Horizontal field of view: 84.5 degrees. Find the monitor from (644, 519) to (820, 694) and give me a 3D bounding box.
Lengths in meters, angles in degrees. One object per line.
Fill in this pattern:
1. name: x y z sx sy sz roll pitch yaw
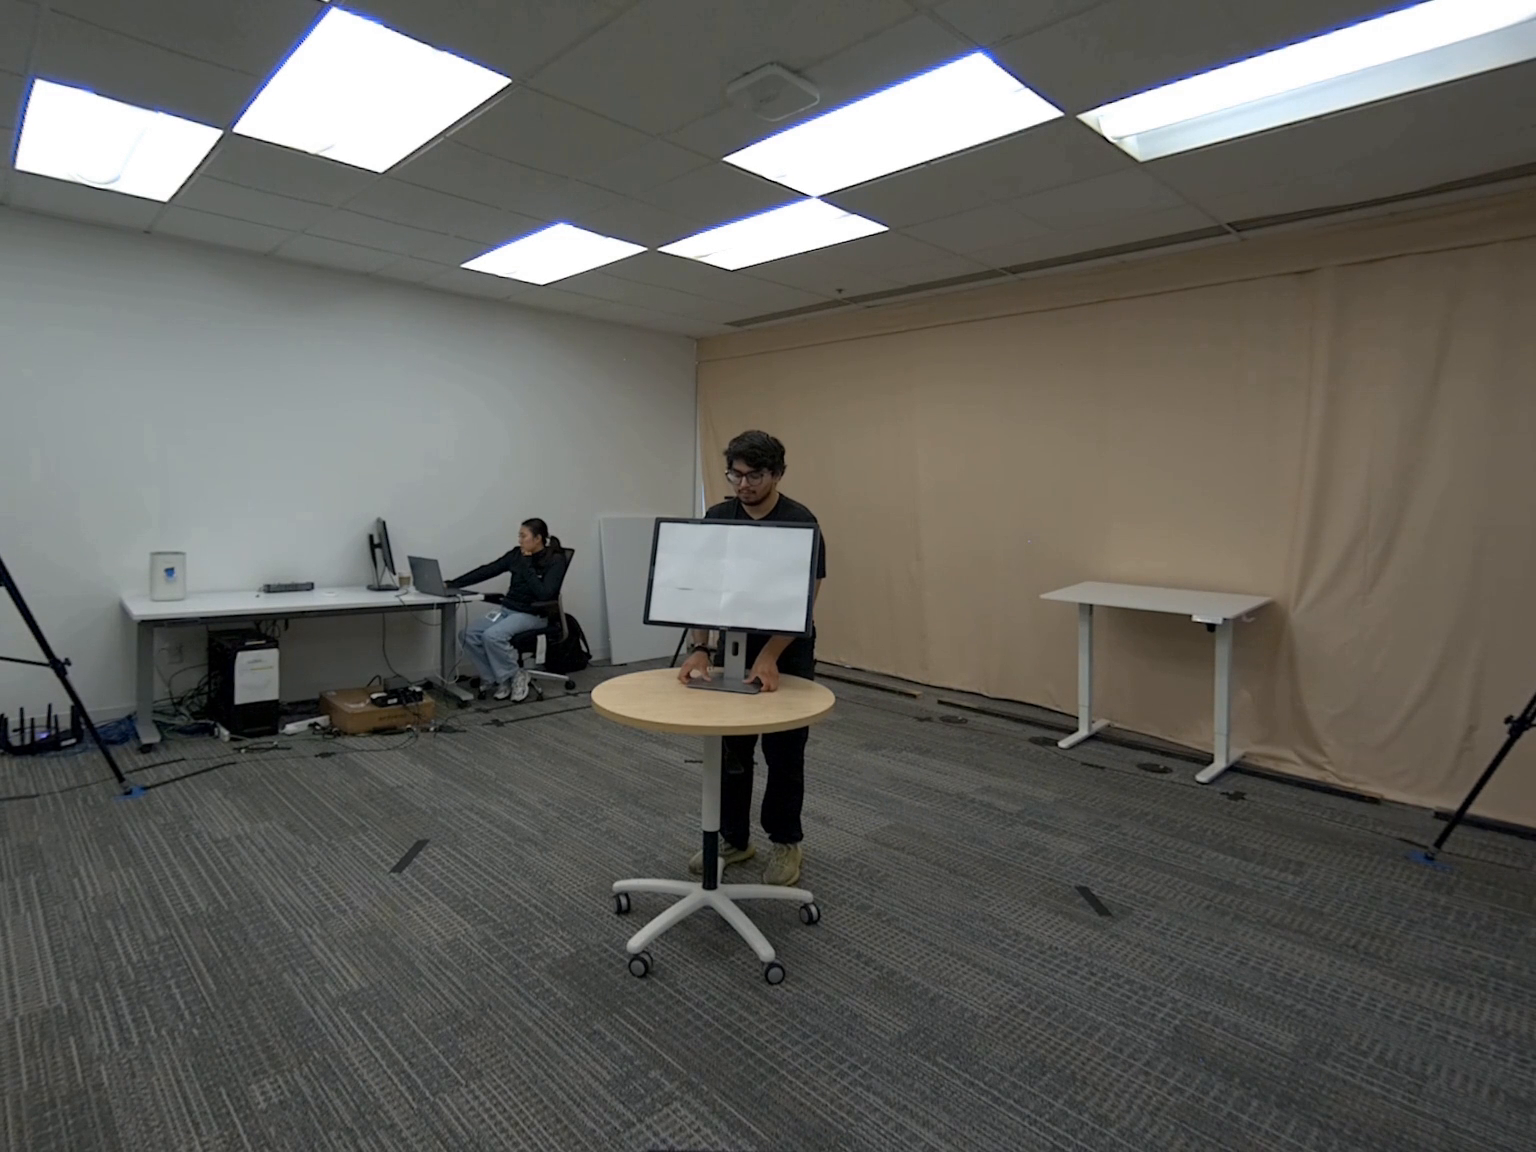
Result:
1. monitor: -0.121 0.092 2.785 0.573 0.555 0.207 2 -3 18
